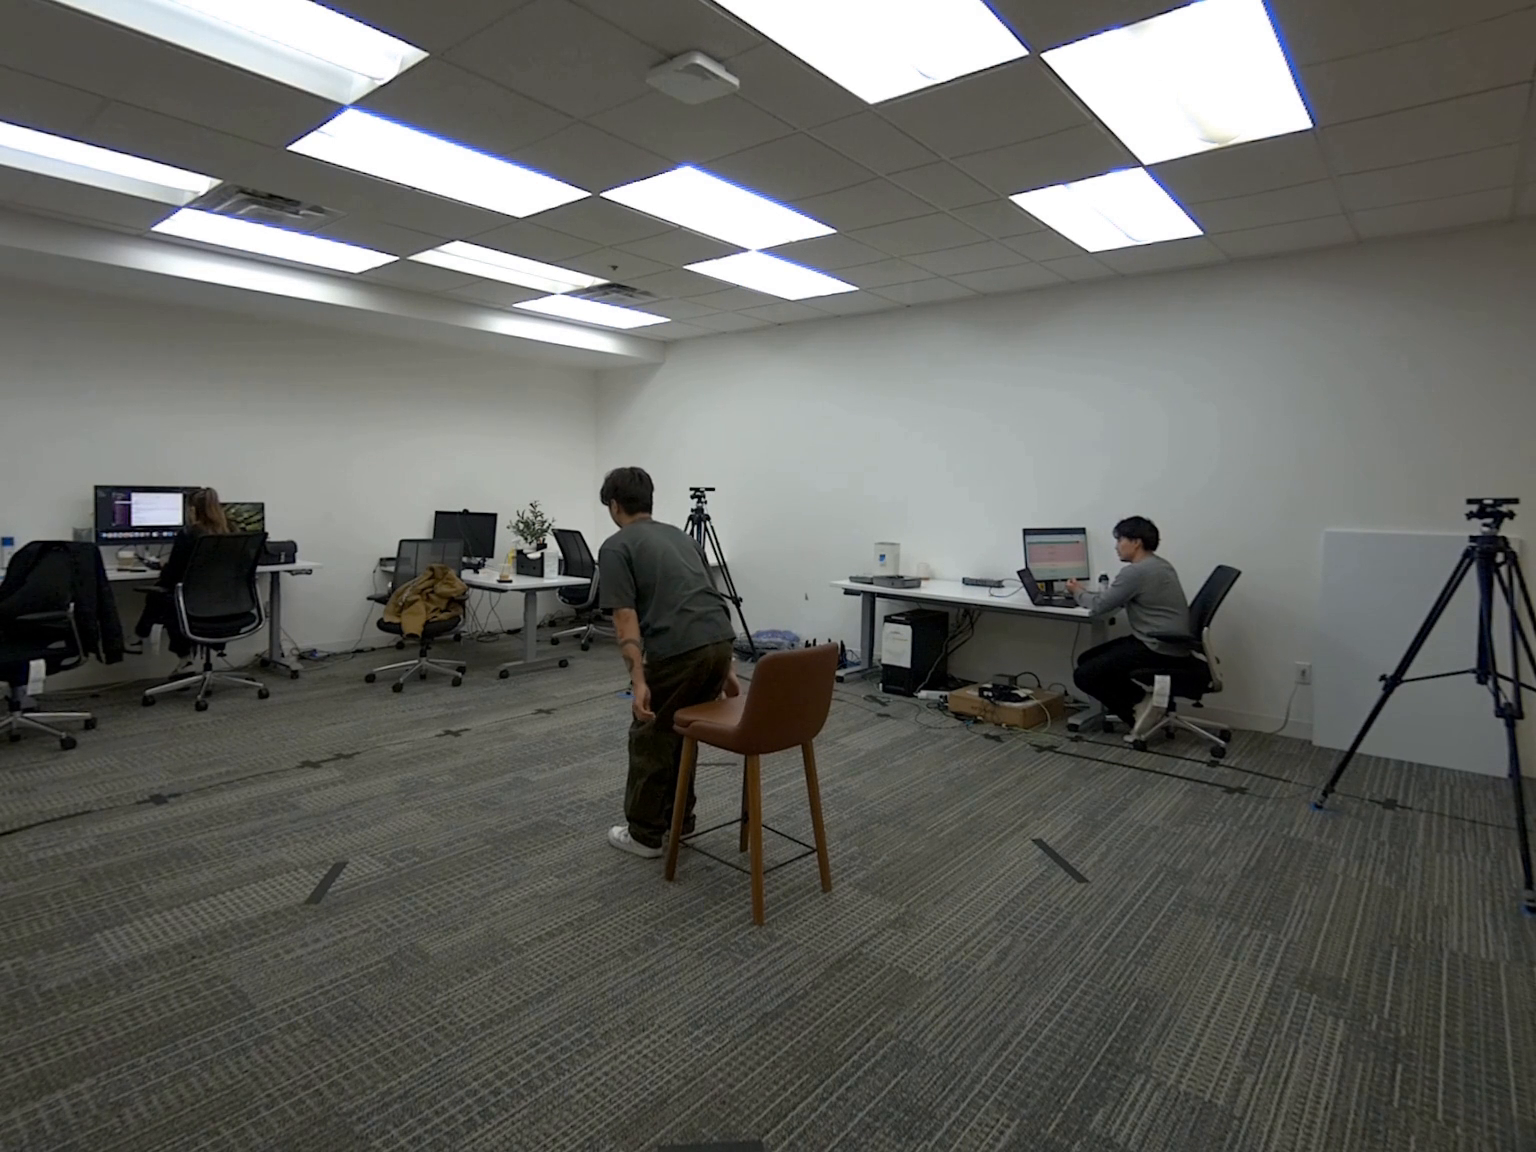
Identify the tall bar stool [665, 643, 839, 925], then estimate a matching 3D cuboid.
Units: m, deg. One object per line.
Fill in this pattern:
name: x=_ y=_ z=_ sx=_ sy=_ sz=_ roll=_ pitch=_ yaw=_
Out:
tall bar stool: x=-0.059 y=0.646 z=2.963 sx=0.484 sy=0.886 sz=0.442 roll=7 pitch=6 yaw=44
